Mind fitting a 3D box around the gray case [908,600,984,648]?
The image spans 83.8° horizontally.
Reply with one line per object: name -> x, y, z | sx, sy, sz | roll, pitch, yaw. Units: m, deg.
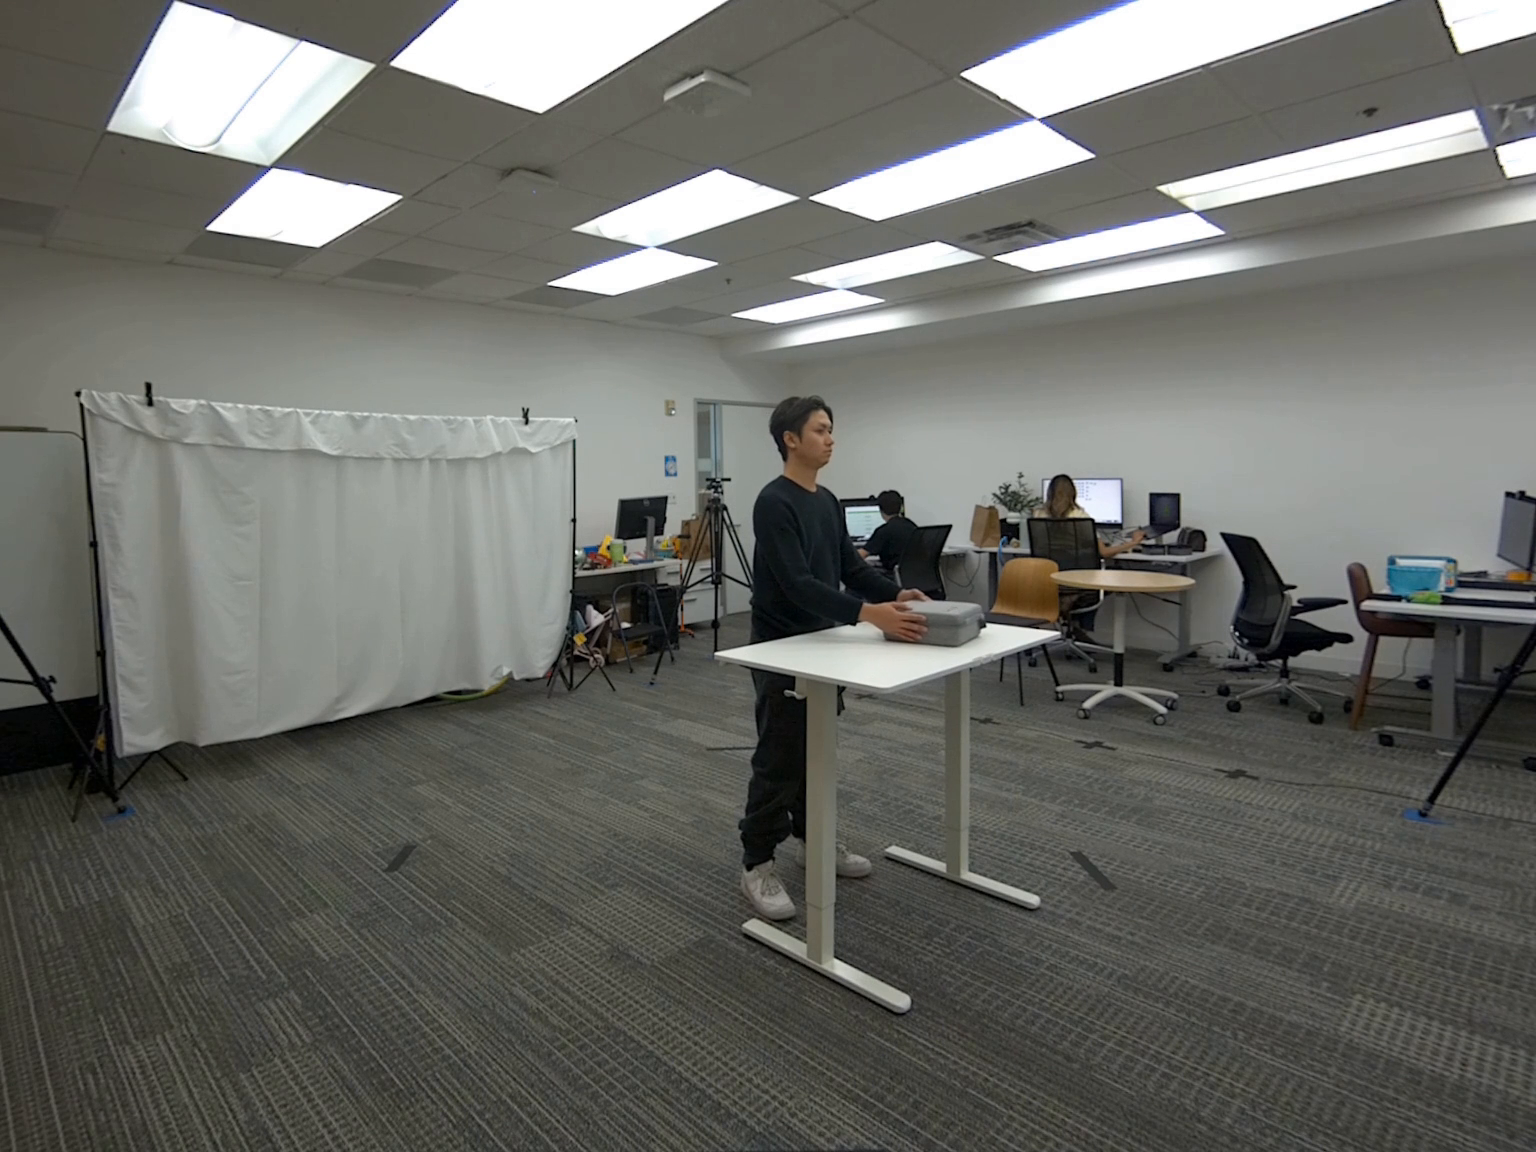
gray case -> 0.521, 0.146, 2.692 | 0.268, 0.104, 0.251 | 3, 8, 35
